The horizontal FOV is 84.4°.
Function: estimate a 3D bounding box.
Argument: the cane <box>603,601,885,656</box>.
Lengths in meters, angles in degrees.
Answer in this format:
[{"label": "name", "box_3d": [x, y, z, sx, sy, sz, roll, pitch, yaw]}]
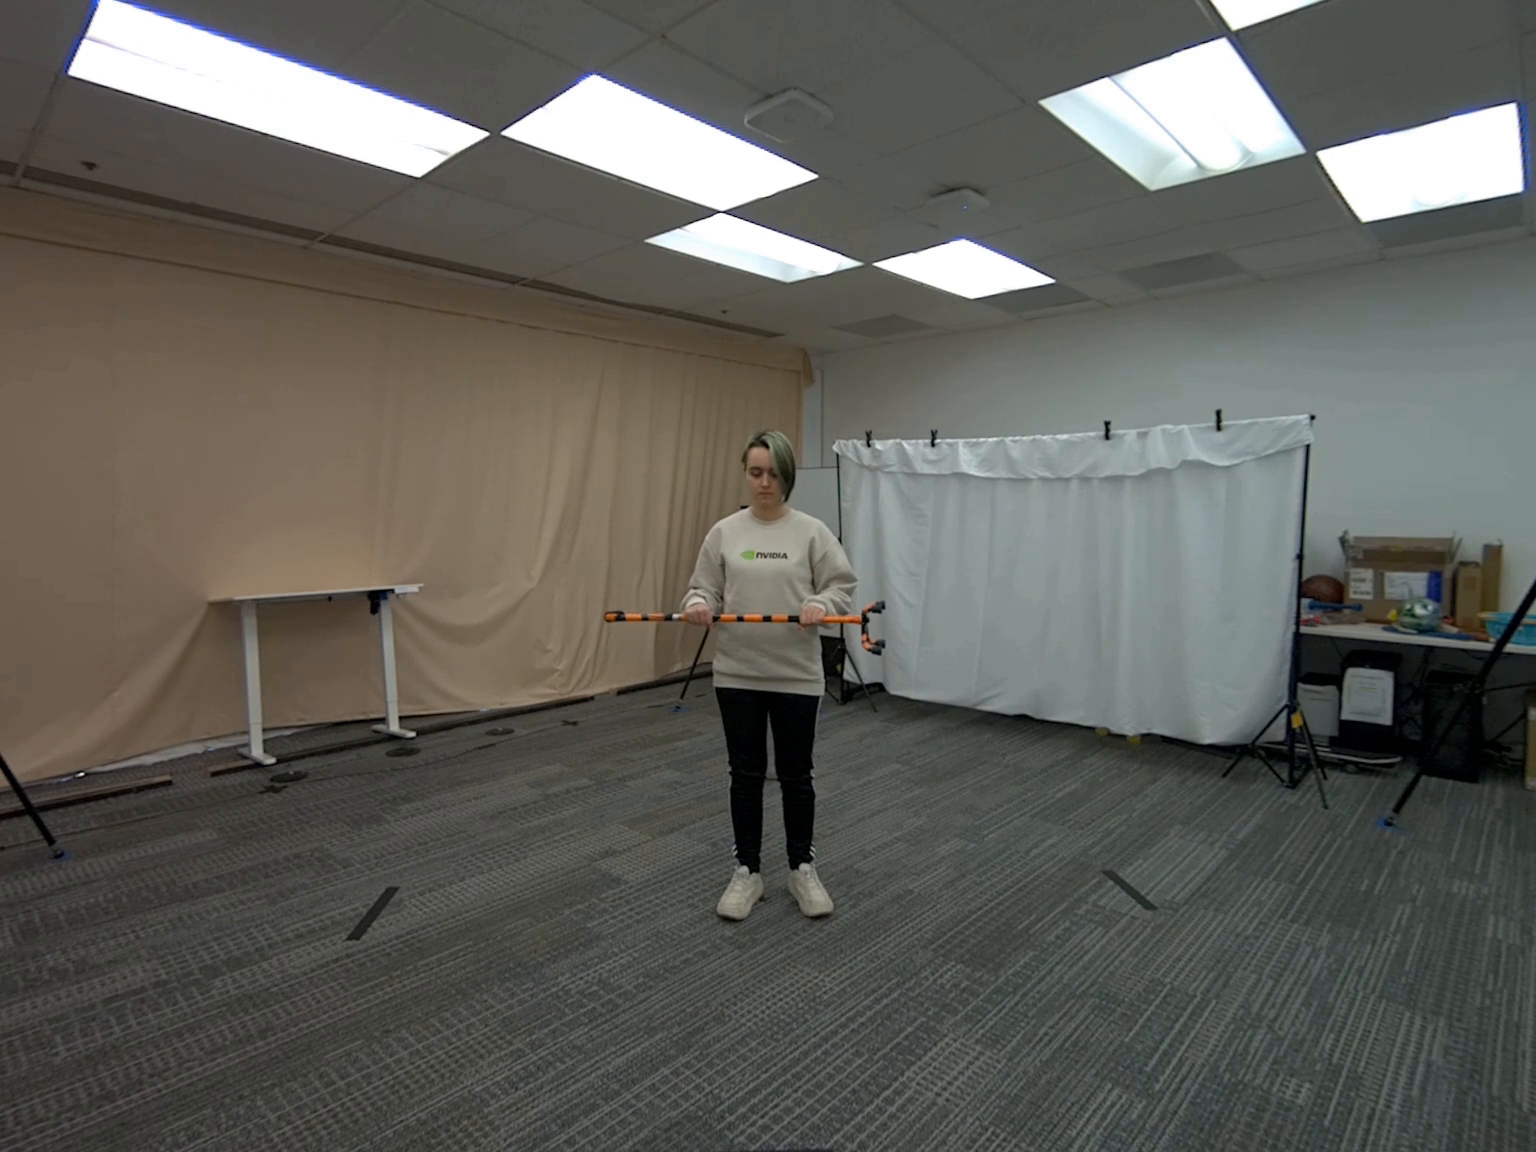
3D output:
[{"label": "cane", "box_3d": [-0.097, 0.153, 2.665, 0.921, 0.151, 0.203, 1, 0, 13]}]
